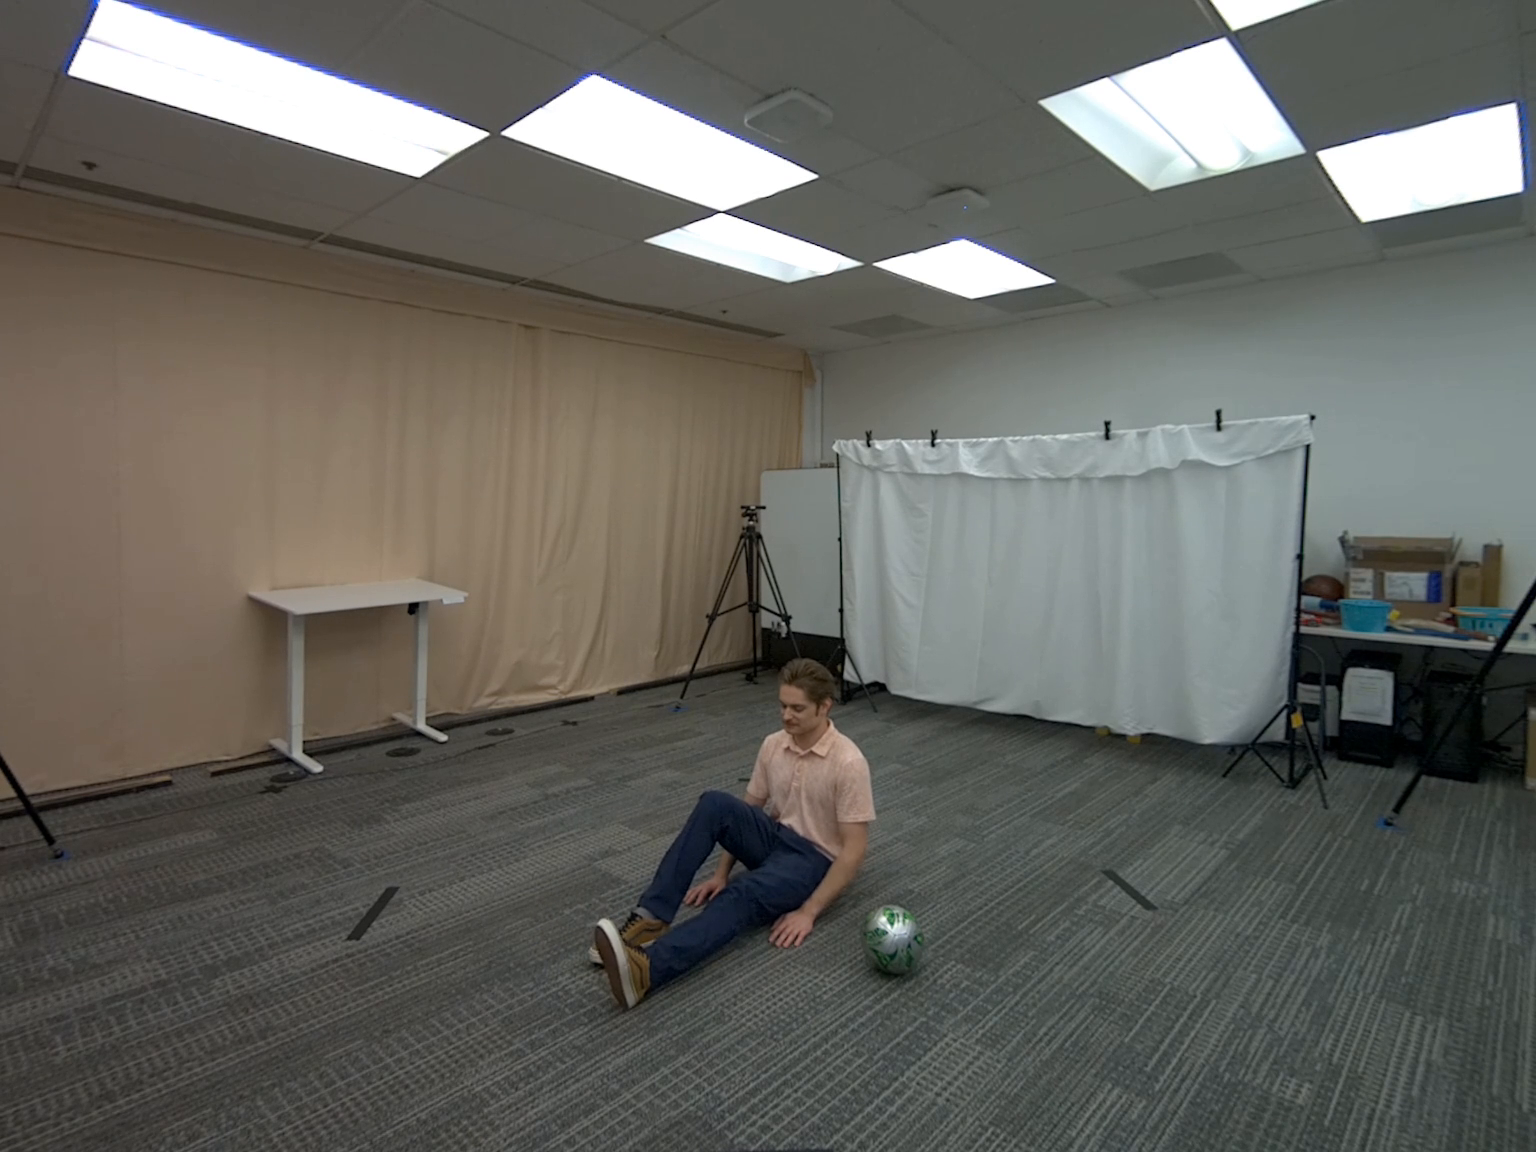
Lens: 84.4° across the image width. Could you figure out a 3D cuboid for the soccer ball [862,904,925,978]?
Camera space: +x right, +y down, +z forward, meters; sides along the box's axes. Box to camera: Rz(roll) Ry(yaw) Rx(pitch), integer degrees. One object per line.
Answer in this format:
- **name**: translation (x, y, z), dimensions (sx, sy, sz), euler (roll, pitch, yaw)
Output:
- **soccer ball**: translation (0.372, 1.084, 2.526), dimensions (0.187, 0.187, 0.188), euler (0, 4, -2)
